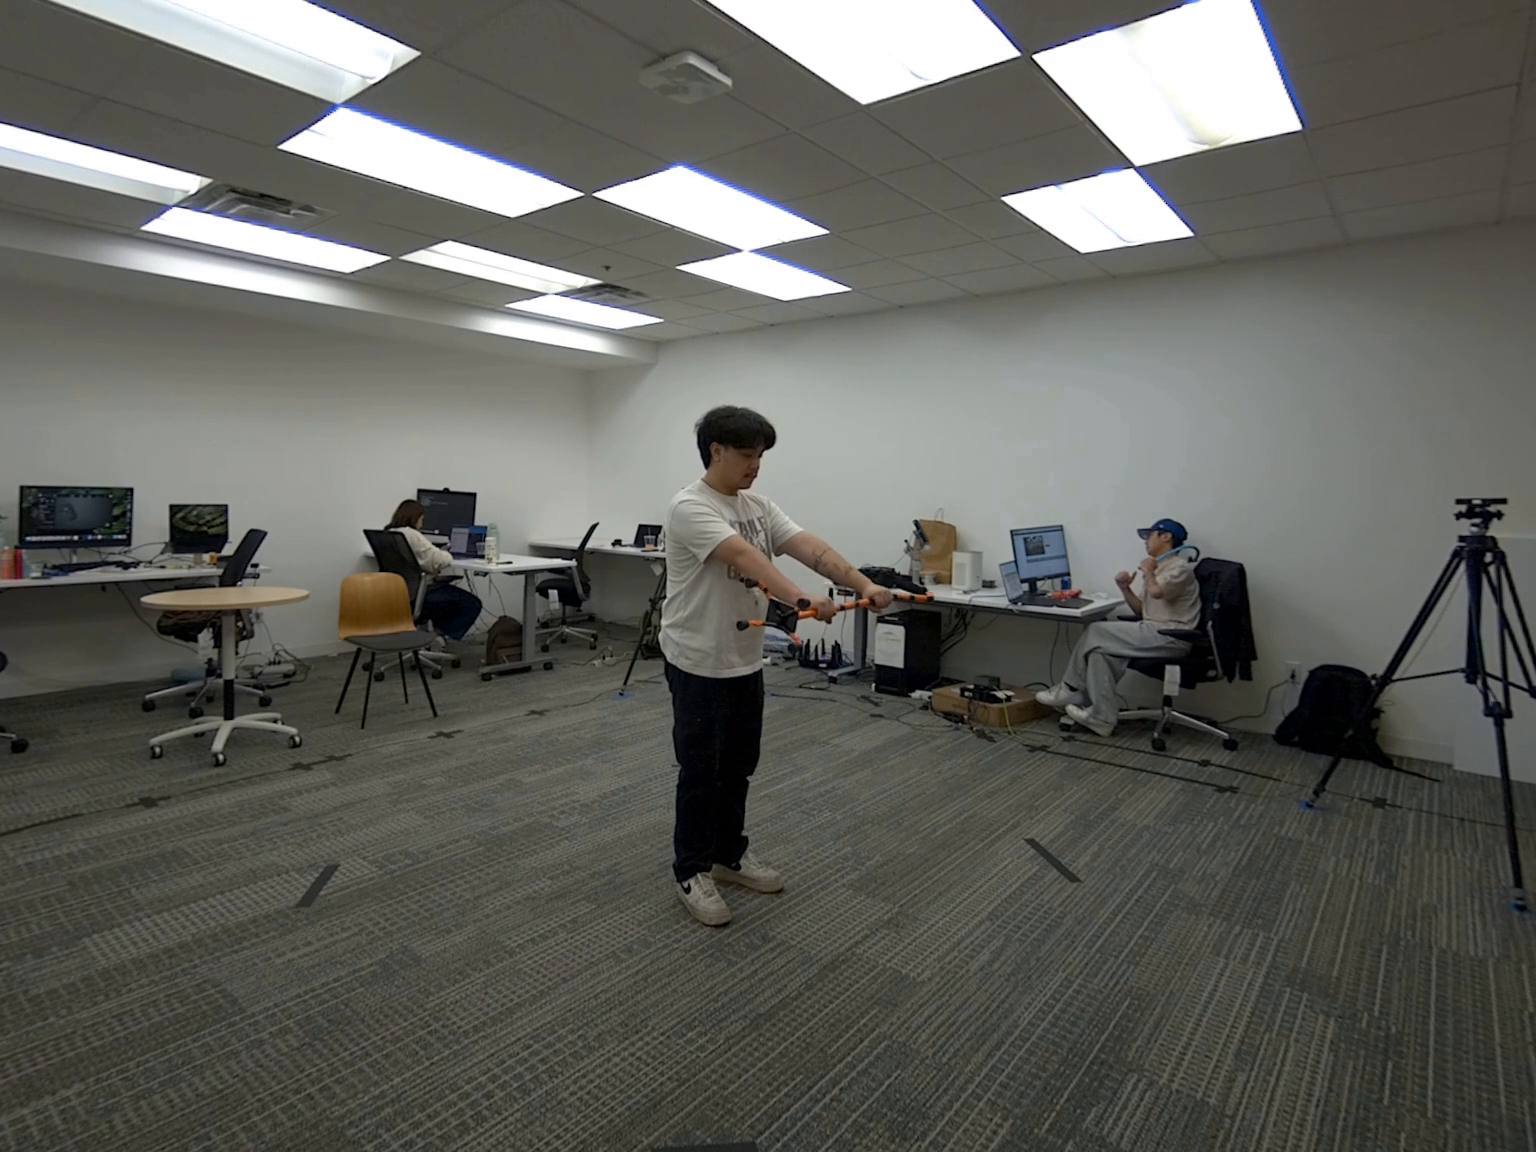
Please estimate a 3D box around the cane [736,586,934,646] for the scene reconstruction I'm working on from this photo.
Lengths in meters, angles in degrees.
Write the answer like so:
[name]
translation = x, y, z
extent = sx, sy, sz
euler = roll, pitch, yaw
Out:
[cane]
translation = 0.259, 0.065, 2.604
extent = 0.214, 0.150, 0.882
euler = 21, 17, 35
